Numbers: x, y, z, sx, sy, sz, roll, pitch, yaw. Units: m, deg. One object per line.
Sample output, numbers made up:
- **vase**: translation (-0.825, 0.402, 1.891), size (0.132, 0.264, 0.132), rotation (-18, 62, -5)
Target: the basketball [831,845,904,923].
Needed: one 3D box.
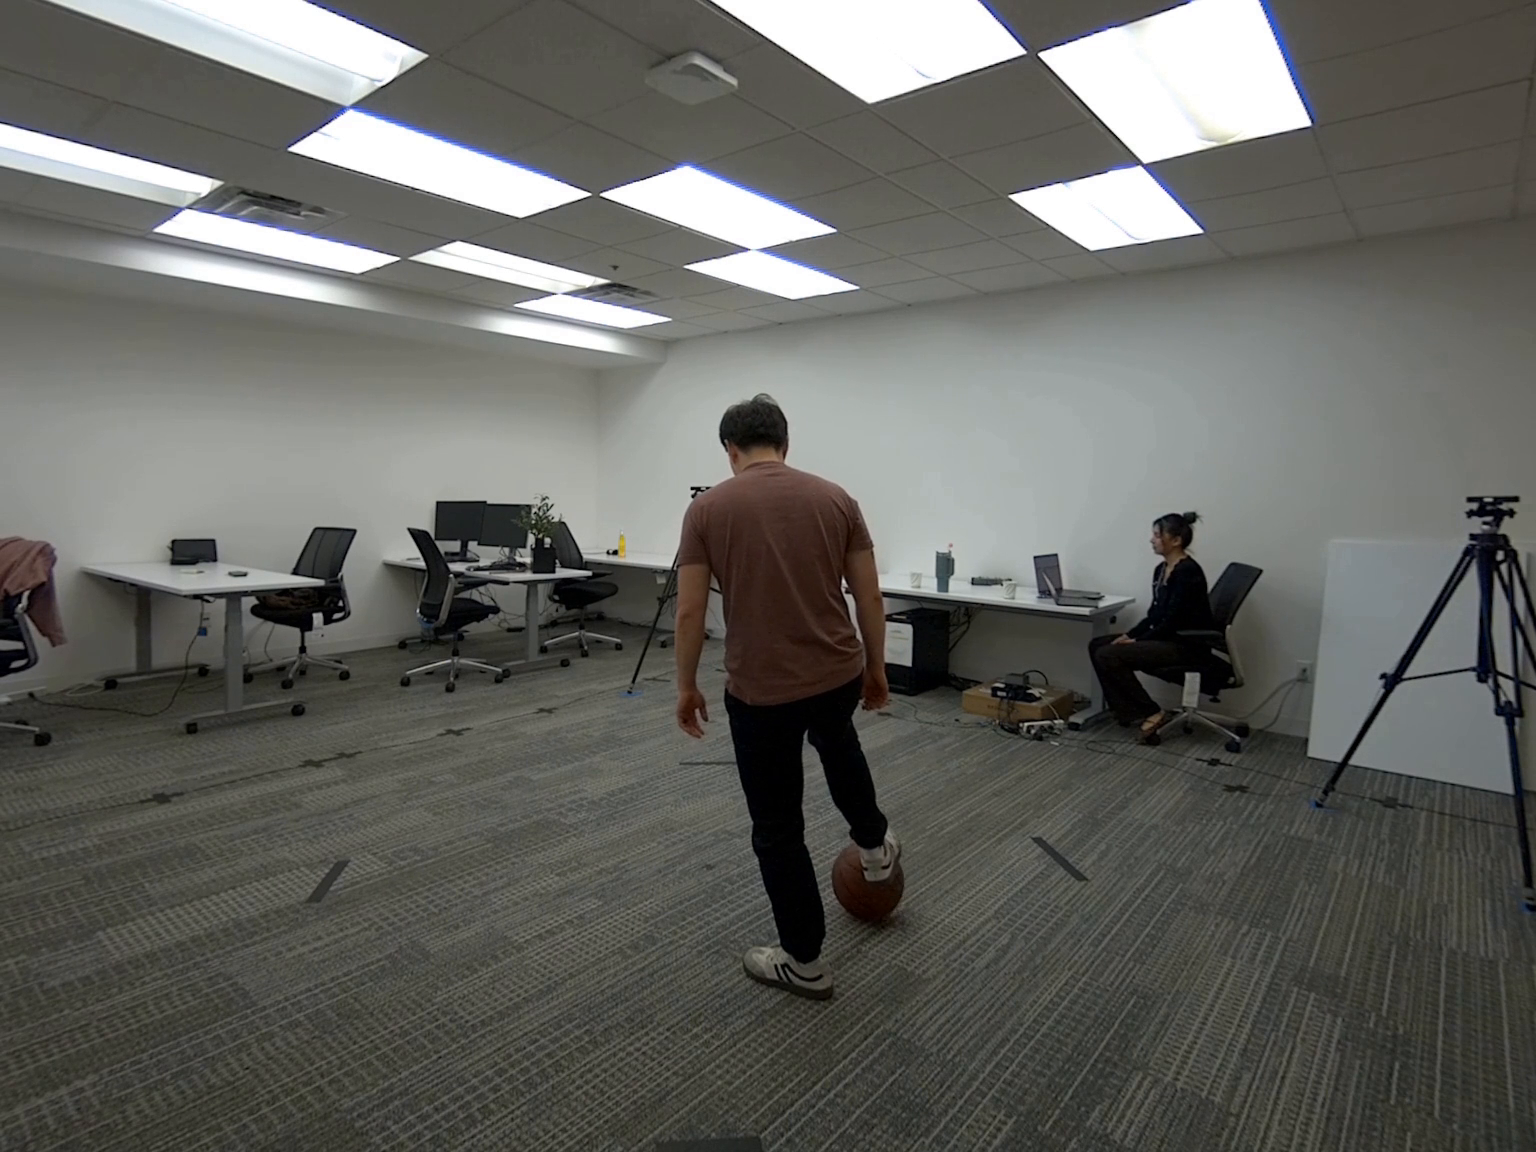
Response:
- **basketball**: translation (0.317, 0.994, 2.786), size (0.235, 0.235, 0.237), rotation (1, 4, -2)
